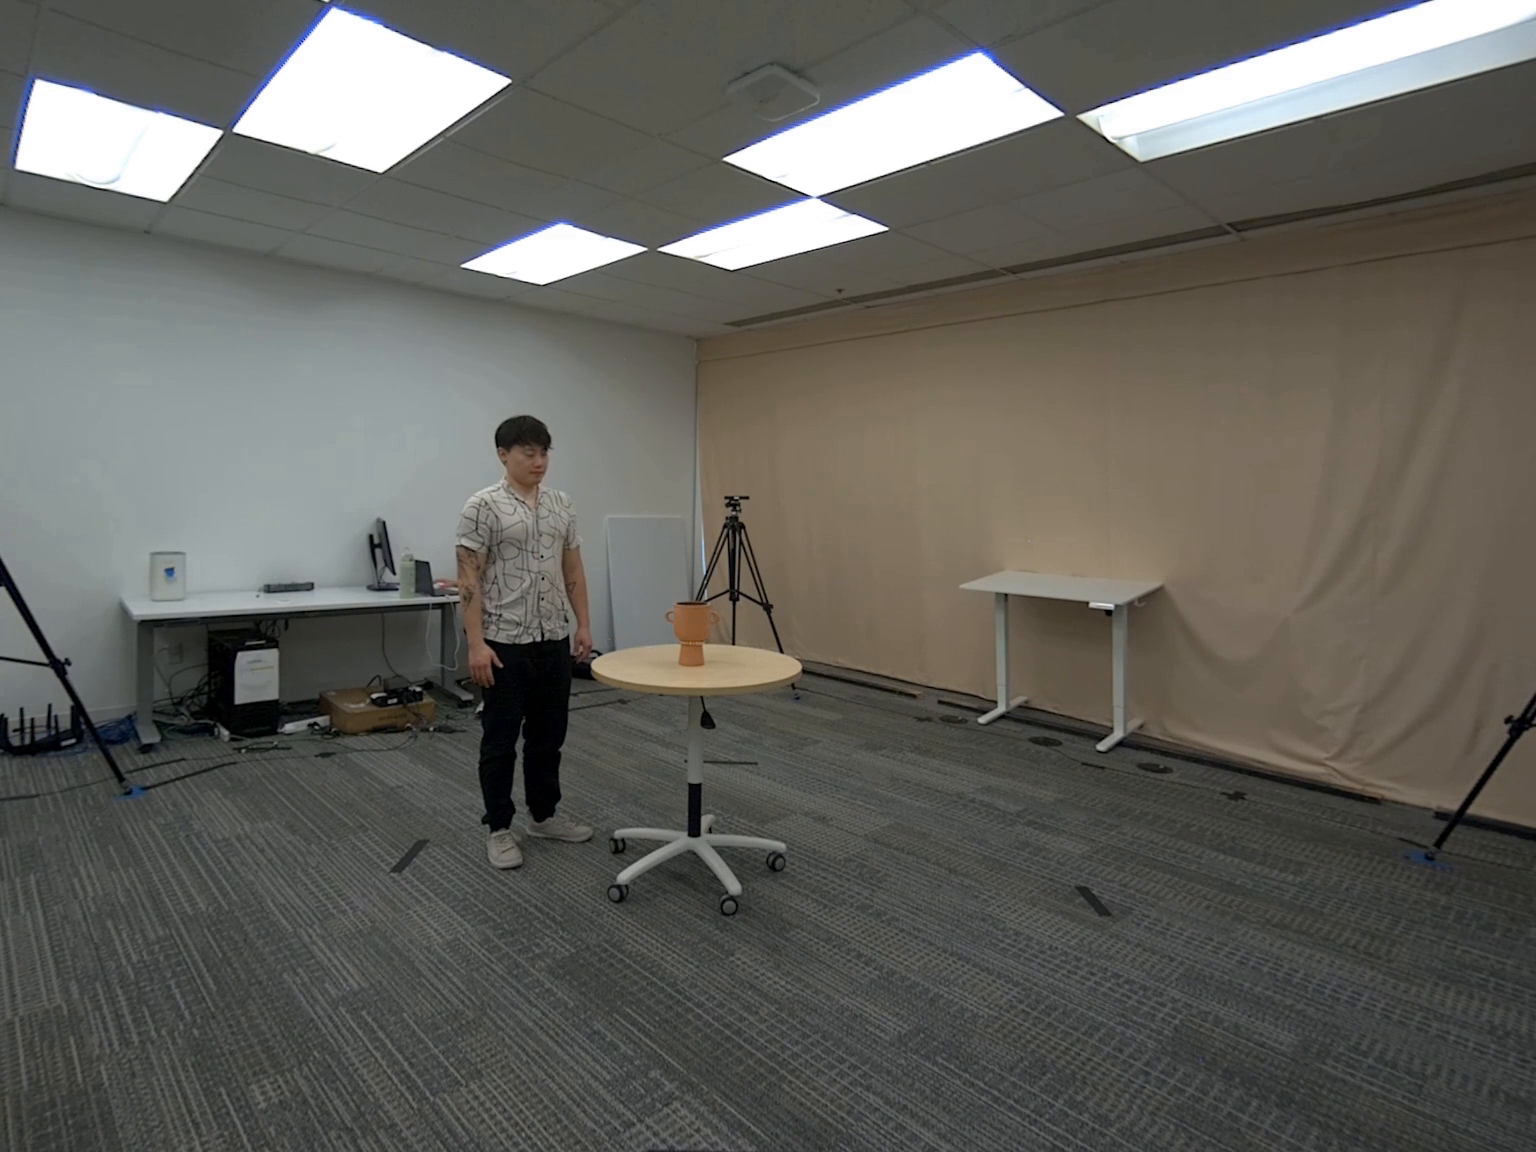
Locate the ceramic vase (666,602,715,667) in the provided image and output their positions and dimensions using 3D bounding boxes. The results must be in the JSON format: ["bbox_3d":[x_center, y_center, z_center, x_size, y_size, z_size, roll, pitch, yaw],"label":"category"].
[{"bbox_3d":[-0.285,0.214,3.059,0.163,0.219,0.132,5,7,42],"label":"ceramic vase"}]
